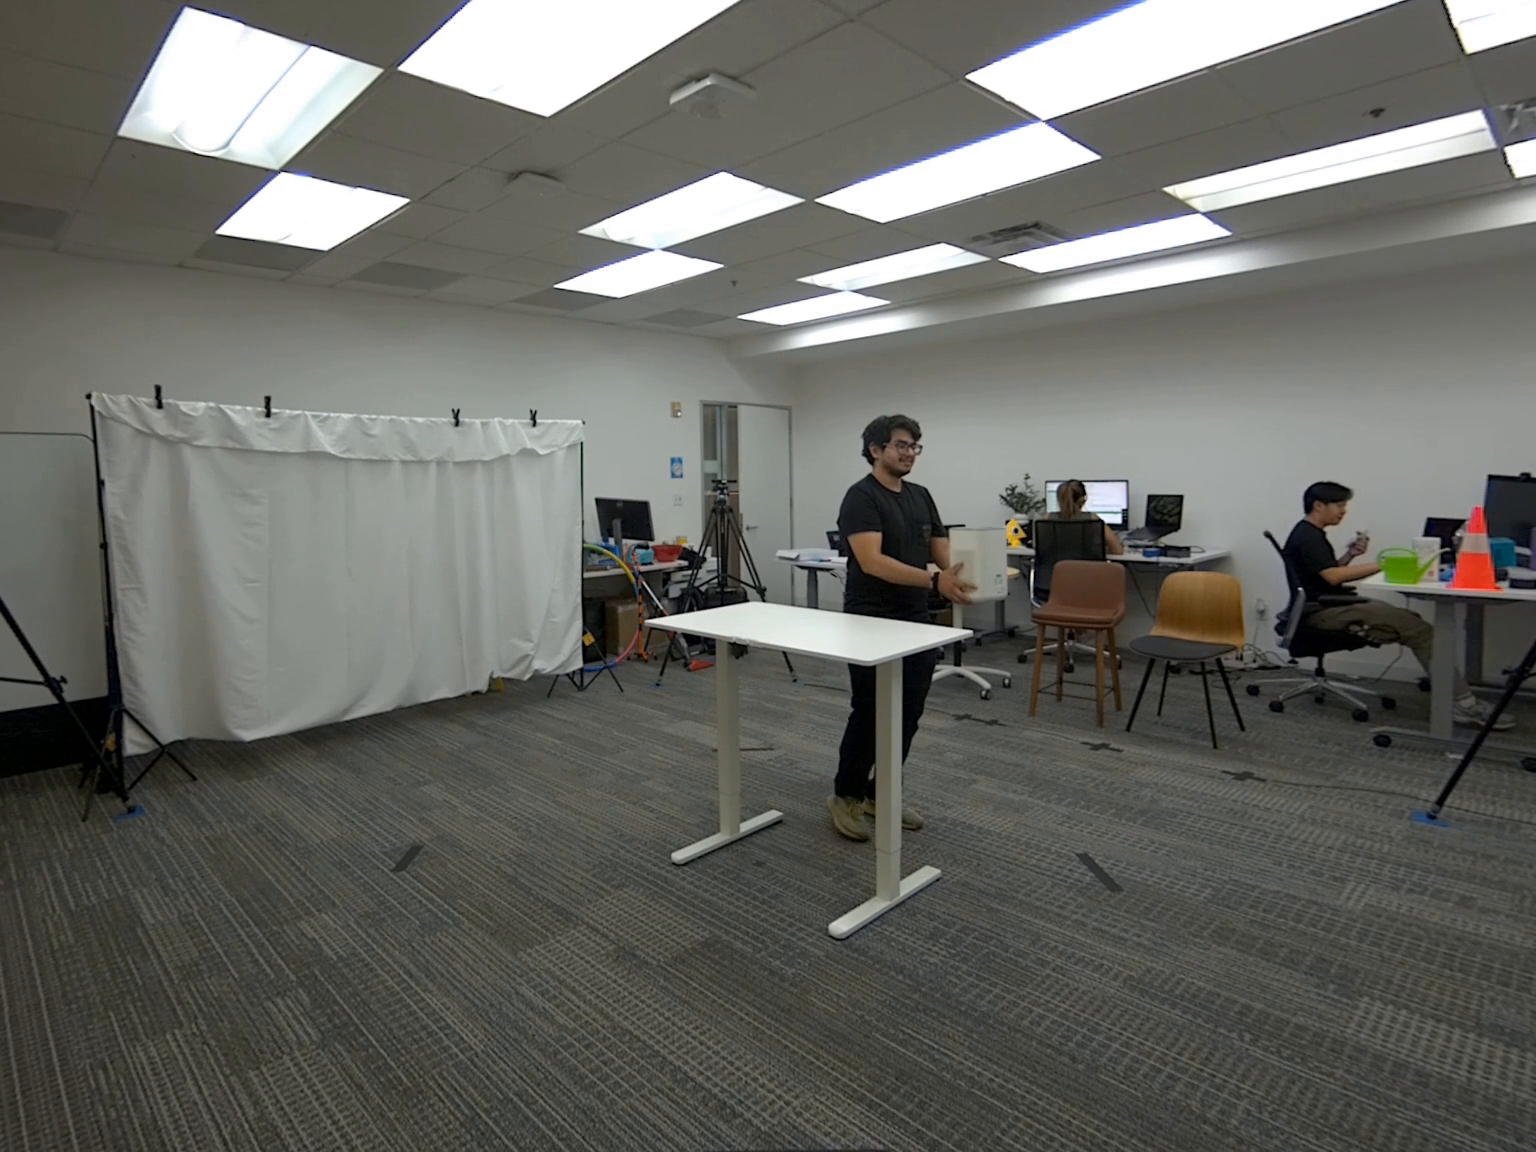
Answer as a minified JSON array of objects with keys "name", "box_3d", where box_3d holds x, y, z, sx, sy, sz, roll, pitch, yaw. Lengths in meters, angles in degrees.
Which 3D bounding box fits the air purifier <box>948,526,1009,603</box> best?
[{"name":"air purifier","box_3d":[0.763,-0.043,3.087,0.166,0.265,0.176,-4,4,-39]}]
